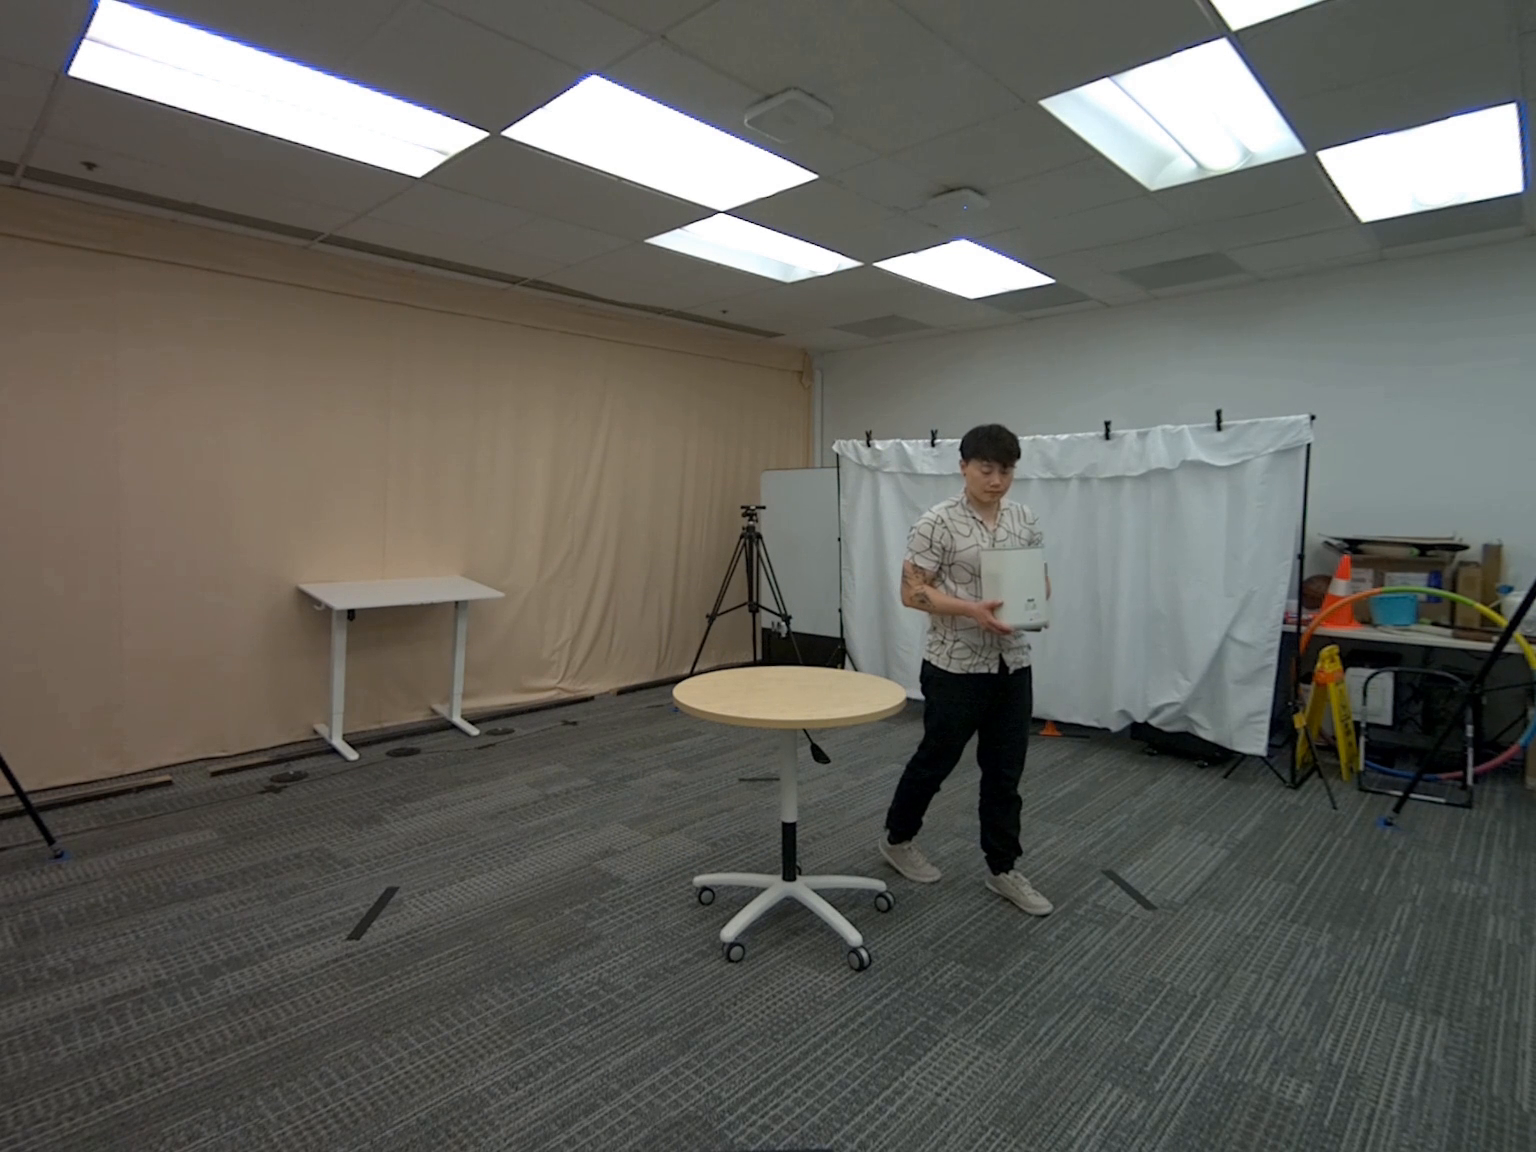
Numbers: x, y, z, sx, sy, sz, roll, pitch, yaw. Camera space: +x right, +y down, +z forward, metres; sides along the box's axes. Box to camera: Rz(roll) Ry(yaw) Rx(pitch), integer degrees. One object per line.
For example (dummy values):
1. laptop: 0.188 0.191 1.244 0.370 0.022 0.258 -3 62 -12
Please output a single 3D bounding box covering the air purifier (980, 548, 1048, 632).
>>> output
1. air purifier: 0.802 0.044 2.772 0.169 0.265 0.173 -3 -1 -10
